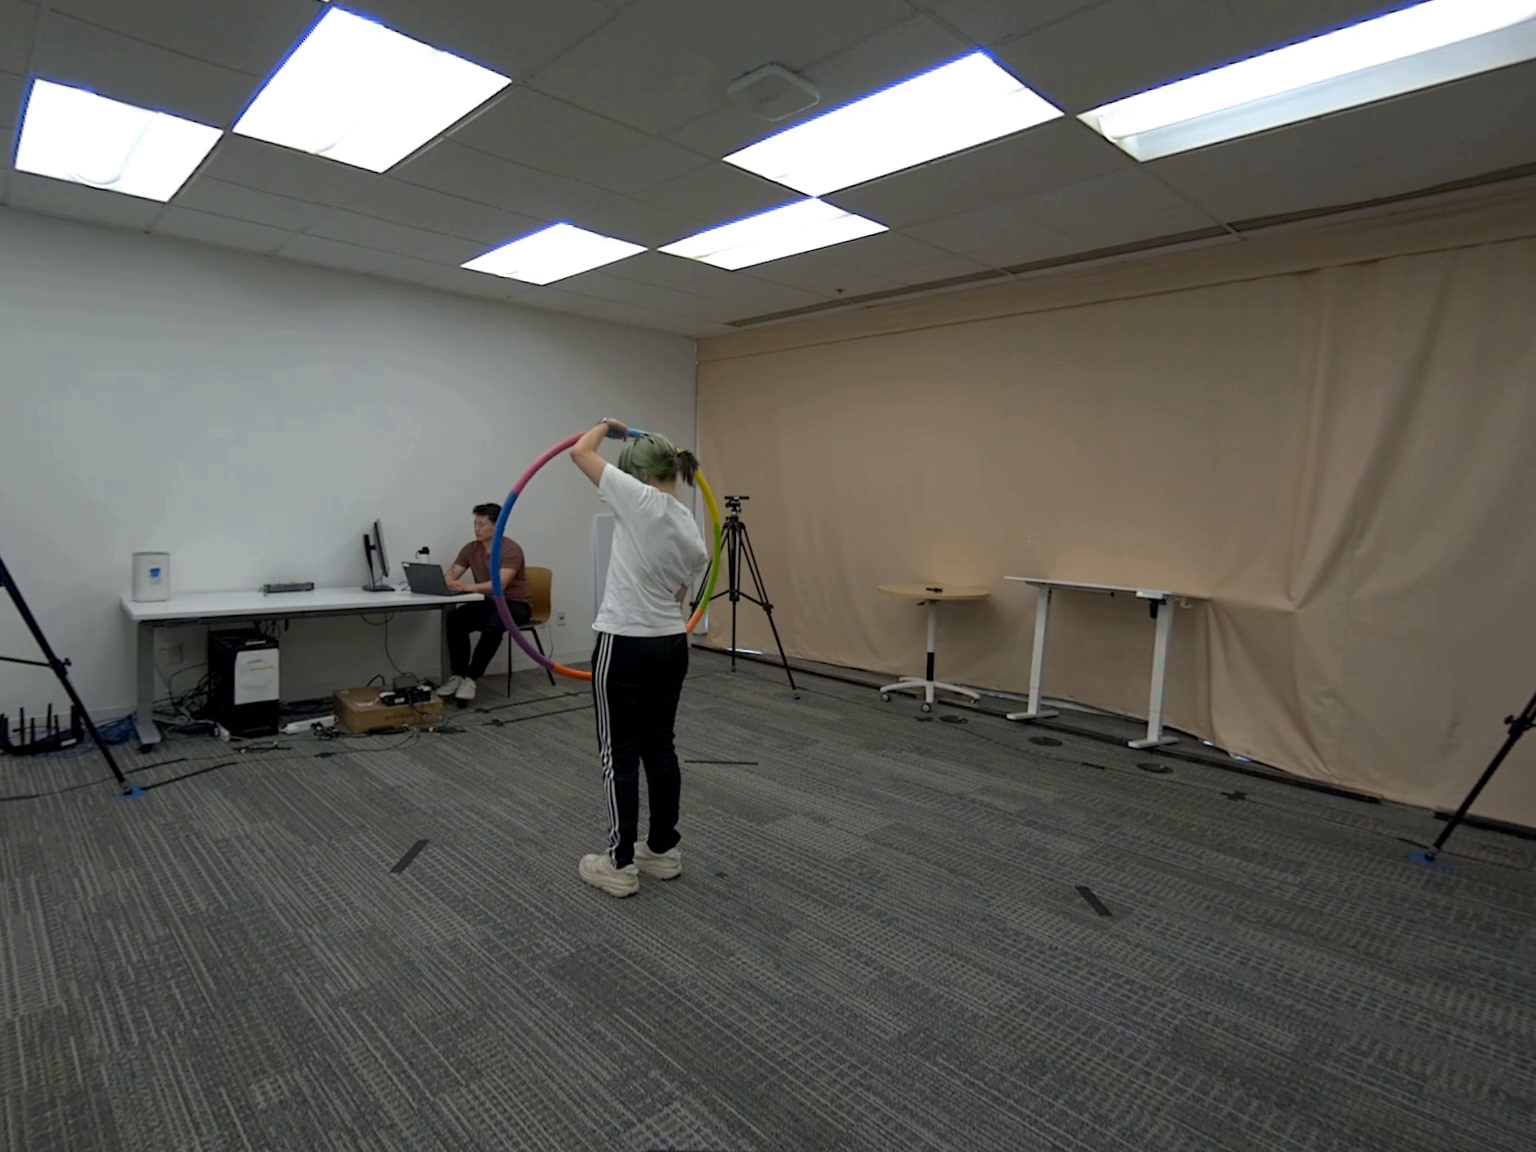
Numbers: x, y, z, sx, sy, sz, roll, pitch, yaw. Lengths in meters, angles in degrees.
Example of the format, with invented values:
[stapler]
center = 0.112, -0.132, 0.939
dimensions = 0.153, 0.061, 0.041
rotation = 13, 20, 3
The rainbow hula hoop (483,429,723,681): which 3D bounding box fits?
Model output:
[rainbow hula hoop]
center = -0.604, -0.074, 3.263
dimensions = 0.957, 0.973, 0.036
rotation = -2, 10, -36
